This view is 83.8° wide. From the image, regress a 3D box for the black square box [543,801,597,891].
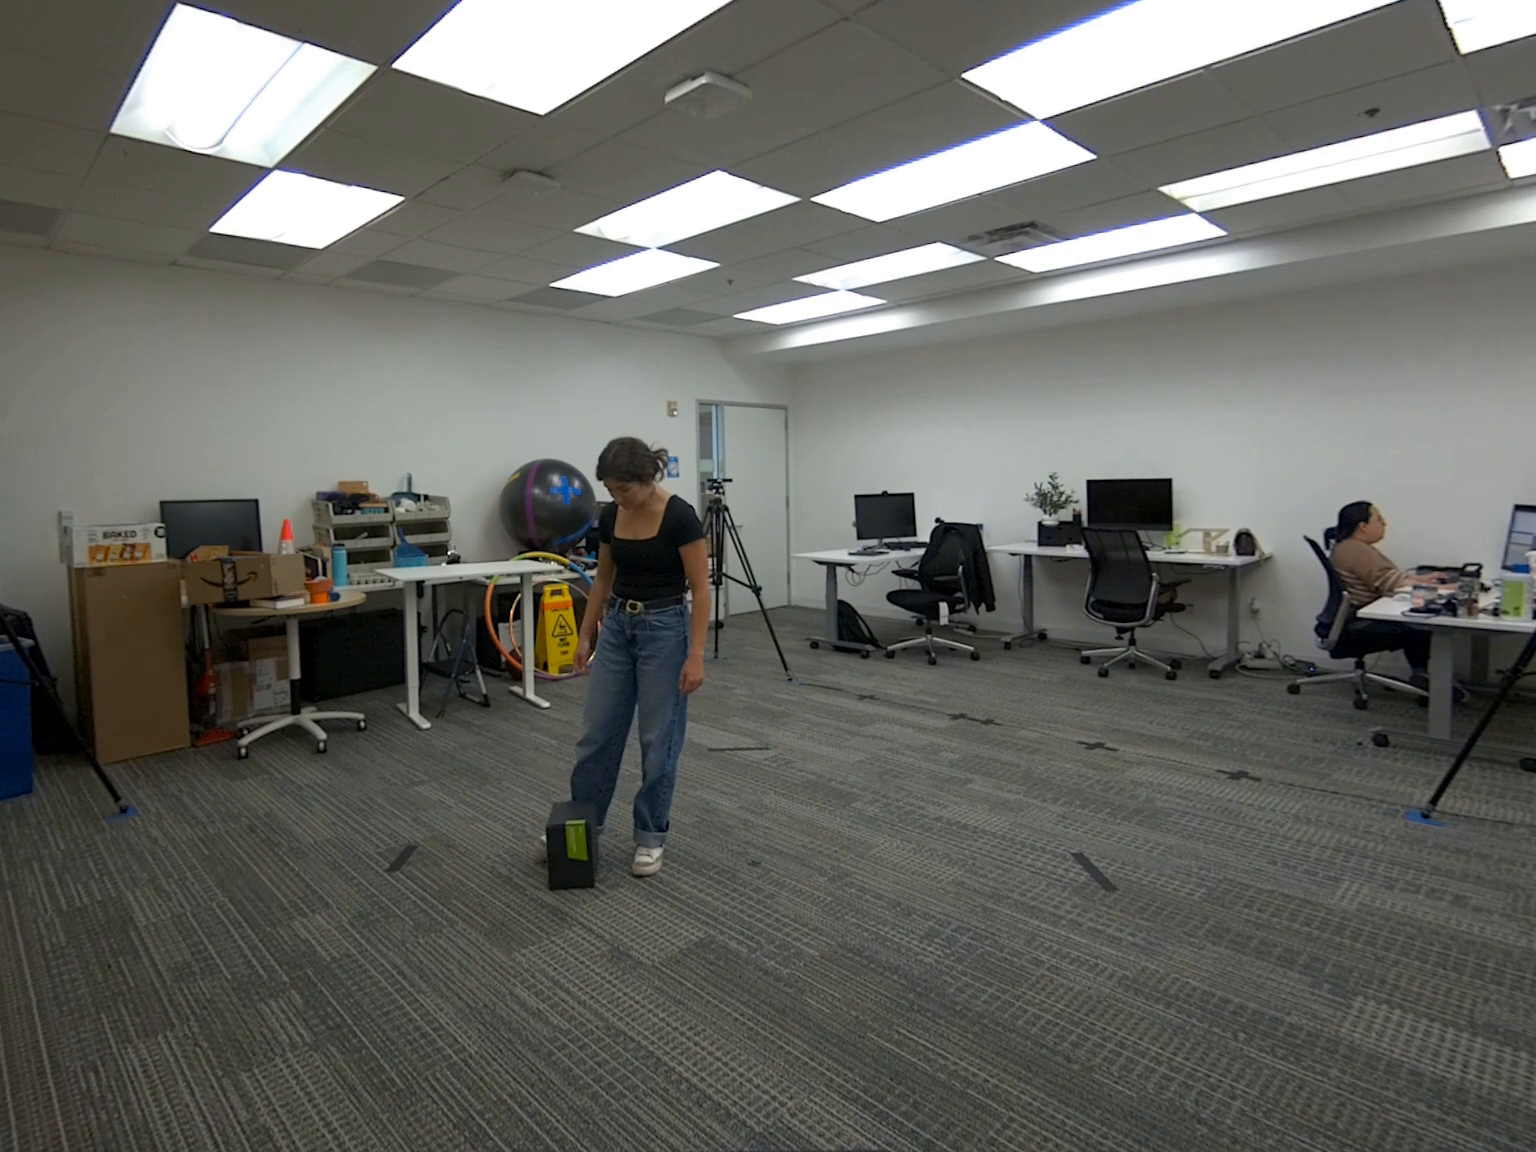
[{"bbox_3d":[-0.687,0.948,3.023,0.155,0.227,0.219,-2,6,-6],"label":"black square box"}]
